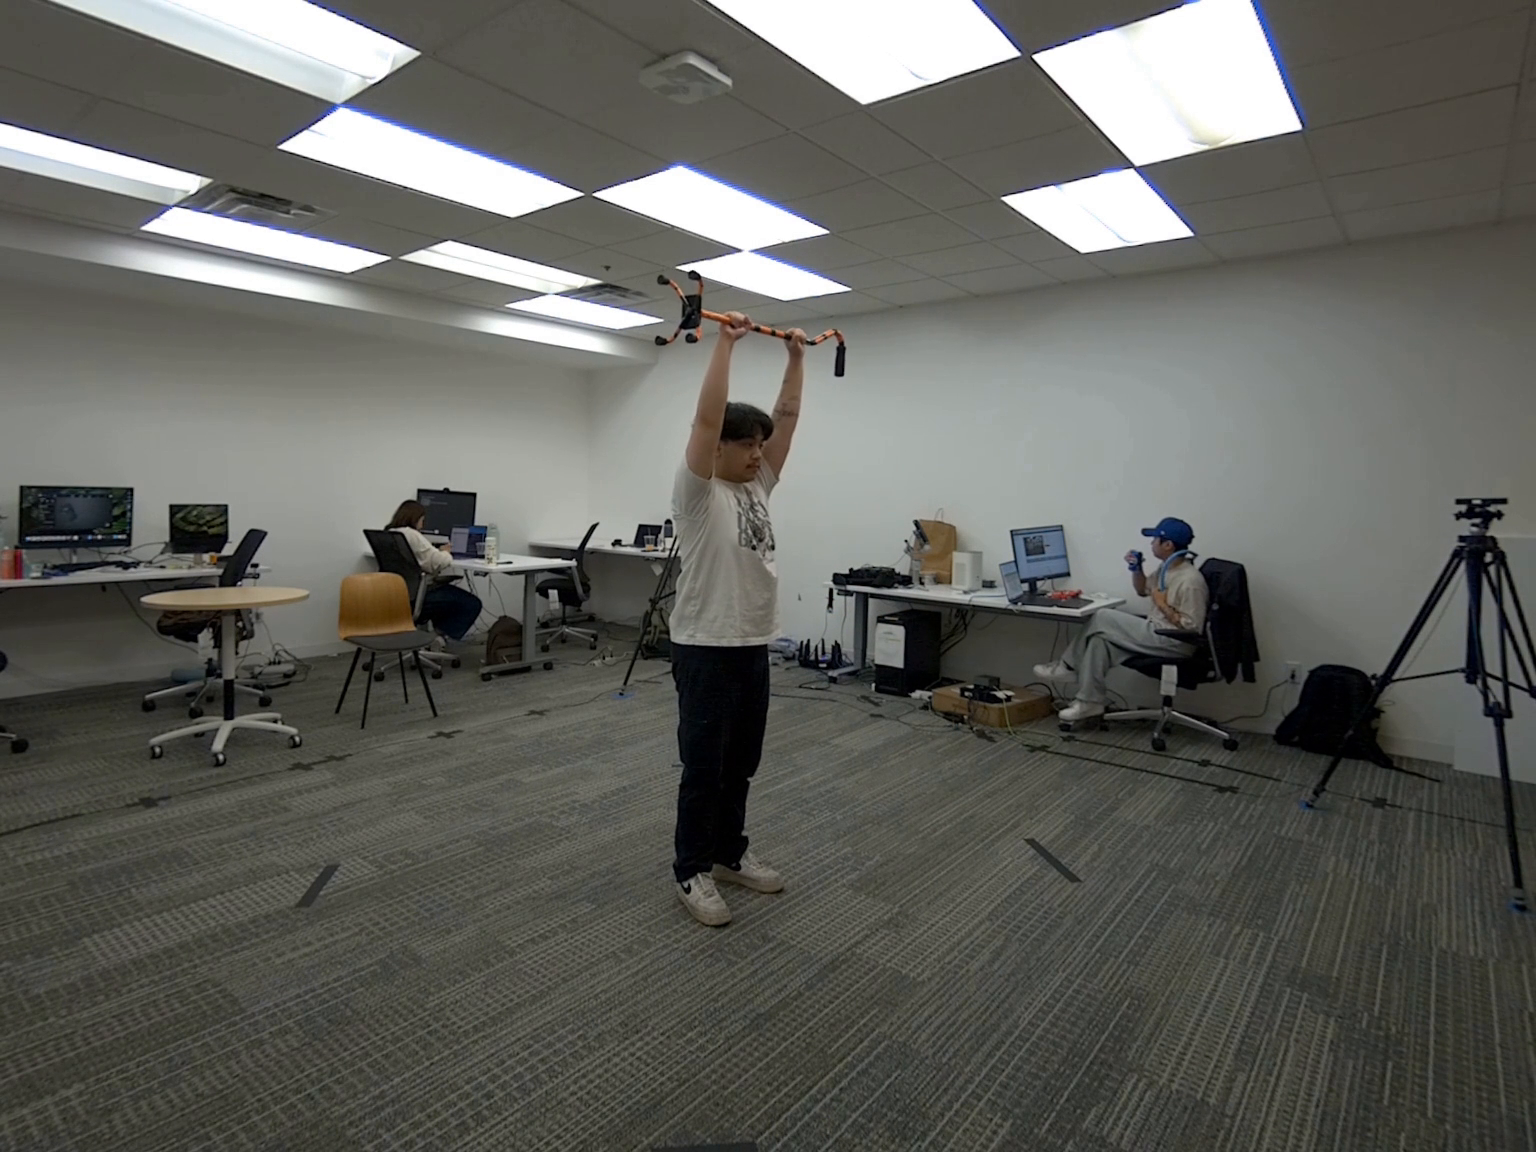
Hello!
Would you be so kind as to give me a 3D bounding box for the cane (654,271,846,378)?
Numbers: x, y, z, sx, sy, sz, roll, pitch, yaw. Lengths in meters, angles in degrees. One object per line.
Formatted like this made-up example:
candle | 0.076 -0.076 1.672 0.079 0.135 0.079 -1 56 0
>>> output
cane | -0.003 -0.807 2.800 0.157 0.205 0.882 8 8 37
